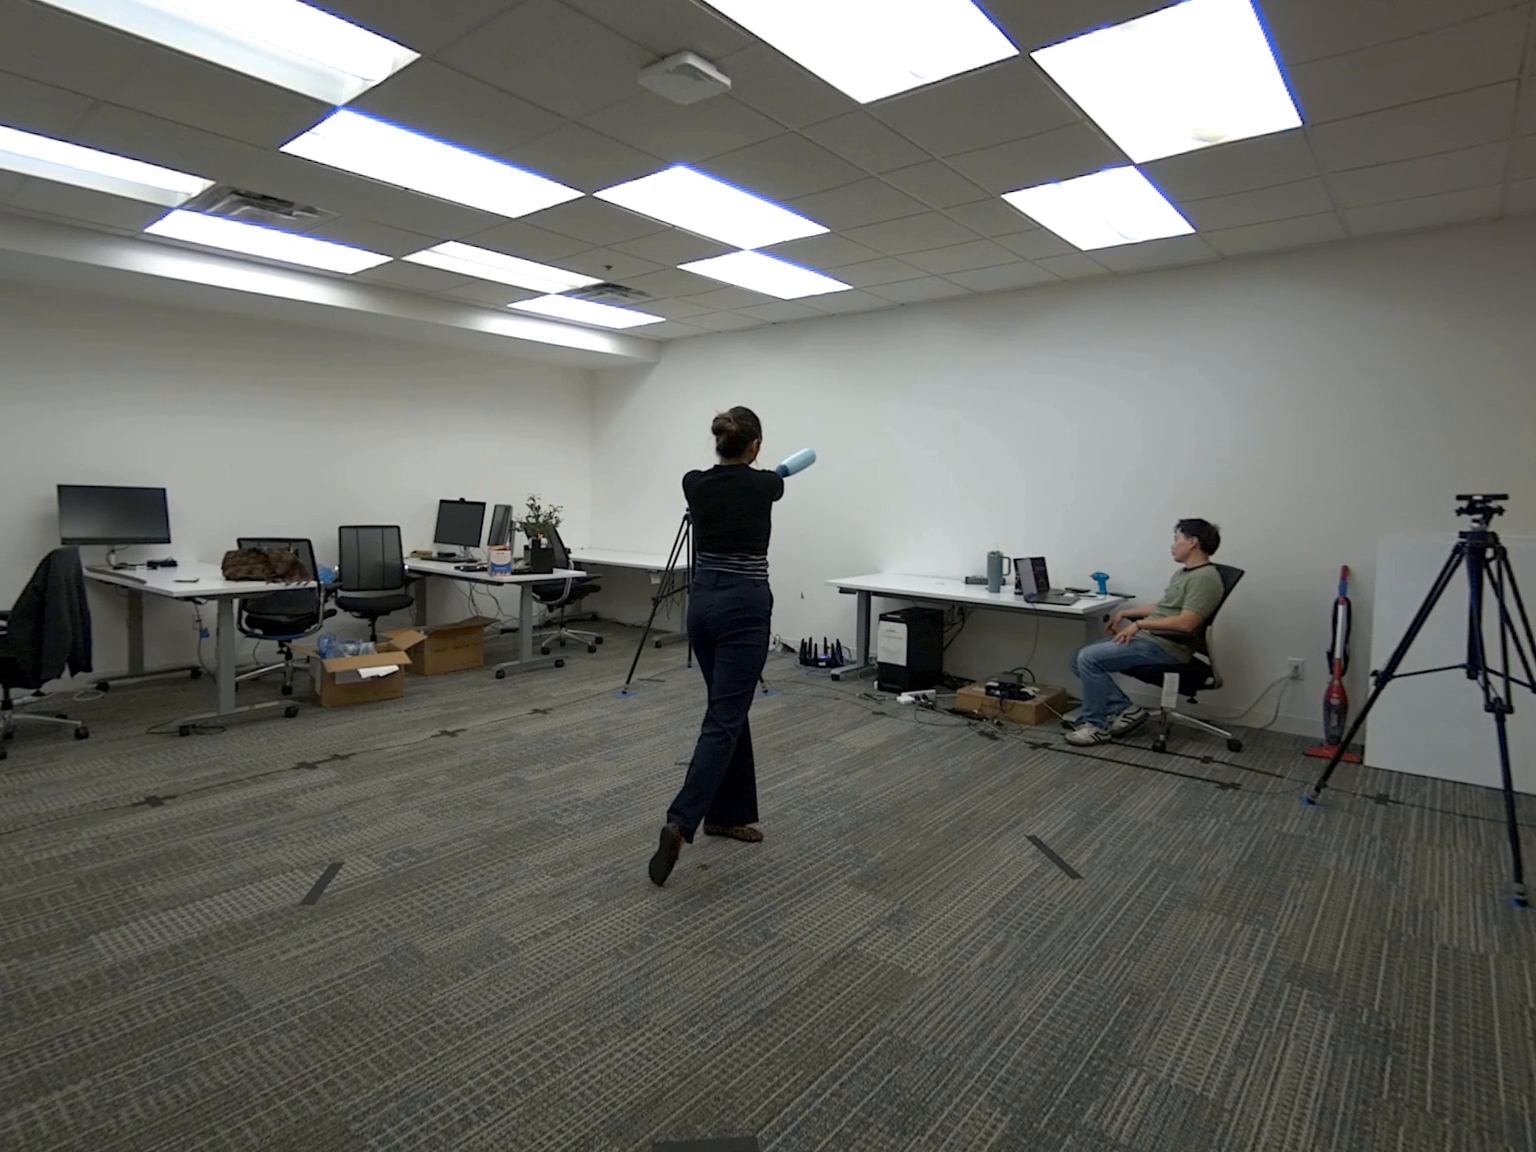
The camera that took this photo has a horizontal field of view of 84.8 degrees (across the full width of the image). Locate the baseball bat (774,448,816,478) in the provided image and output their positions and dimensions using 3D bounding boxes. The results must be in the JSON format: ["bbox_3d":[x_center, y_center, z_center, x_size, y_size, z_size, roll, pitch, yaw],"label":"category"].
[{"bbox_3d":[0.054,-0.499,4.069,0.092,0.087,0.537,3,25,37],"label":"baseball bat"}]
